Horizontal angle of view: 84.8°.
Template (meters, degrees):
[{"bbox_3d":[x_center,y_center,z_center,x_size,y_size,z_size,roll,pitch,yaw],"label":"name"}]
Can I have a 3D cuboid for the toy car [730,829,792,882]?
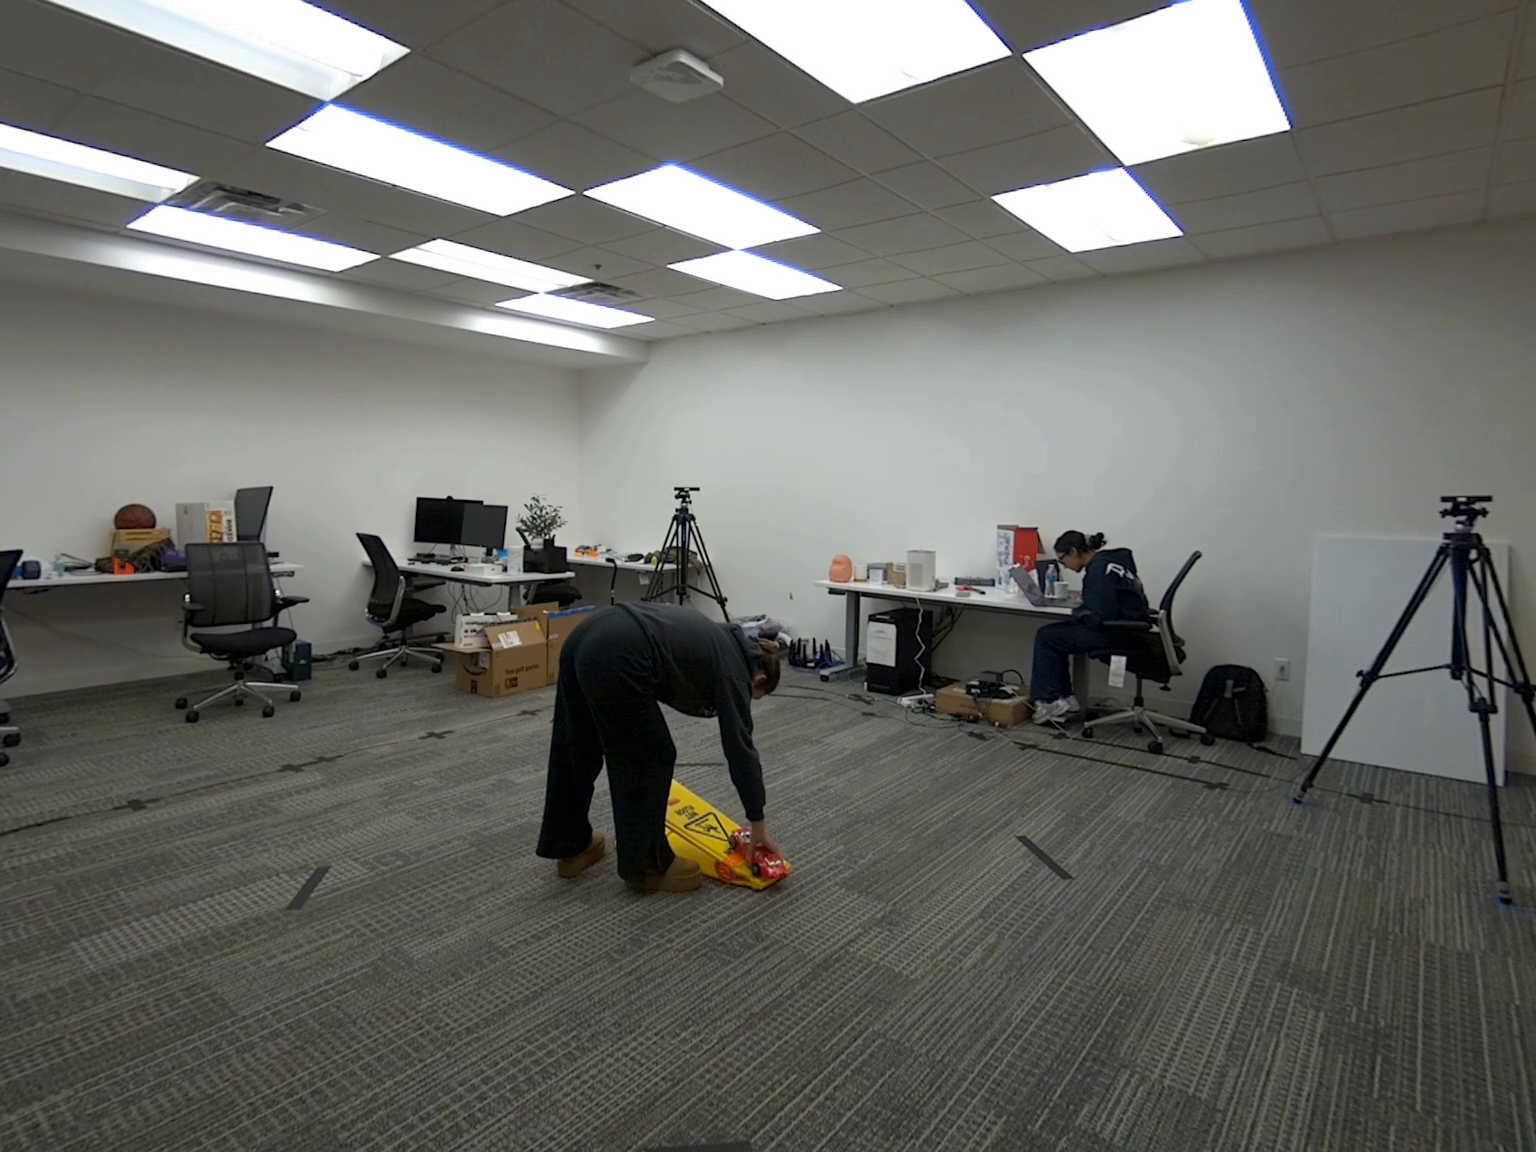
[{"bbox_3d":[-0.034,0.999,3.032,0.126,0.082,0.265,5,13,-41],"label":"toy car"}]
